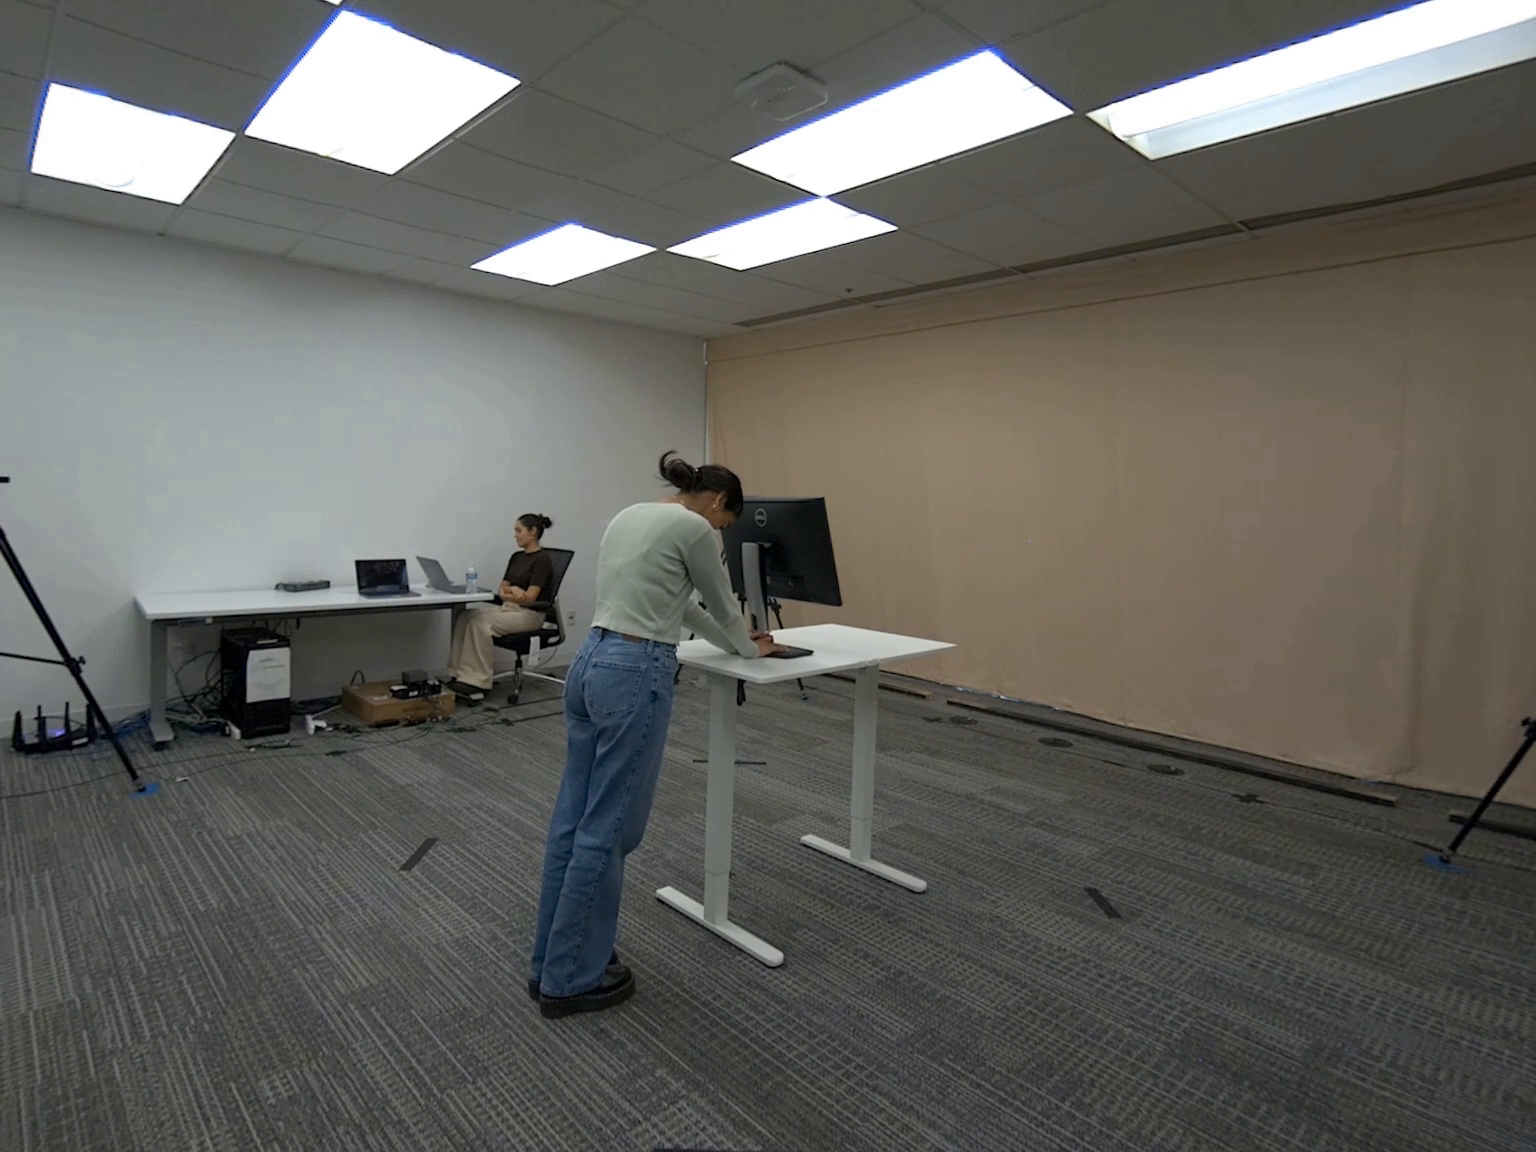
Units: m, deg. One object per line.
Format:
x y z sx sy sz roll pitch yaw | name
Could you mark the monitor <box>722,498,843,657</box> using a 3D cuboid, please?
0.001 -0.003 2.788 0.183 0.521 0.553 0 4 -39 | monitor
